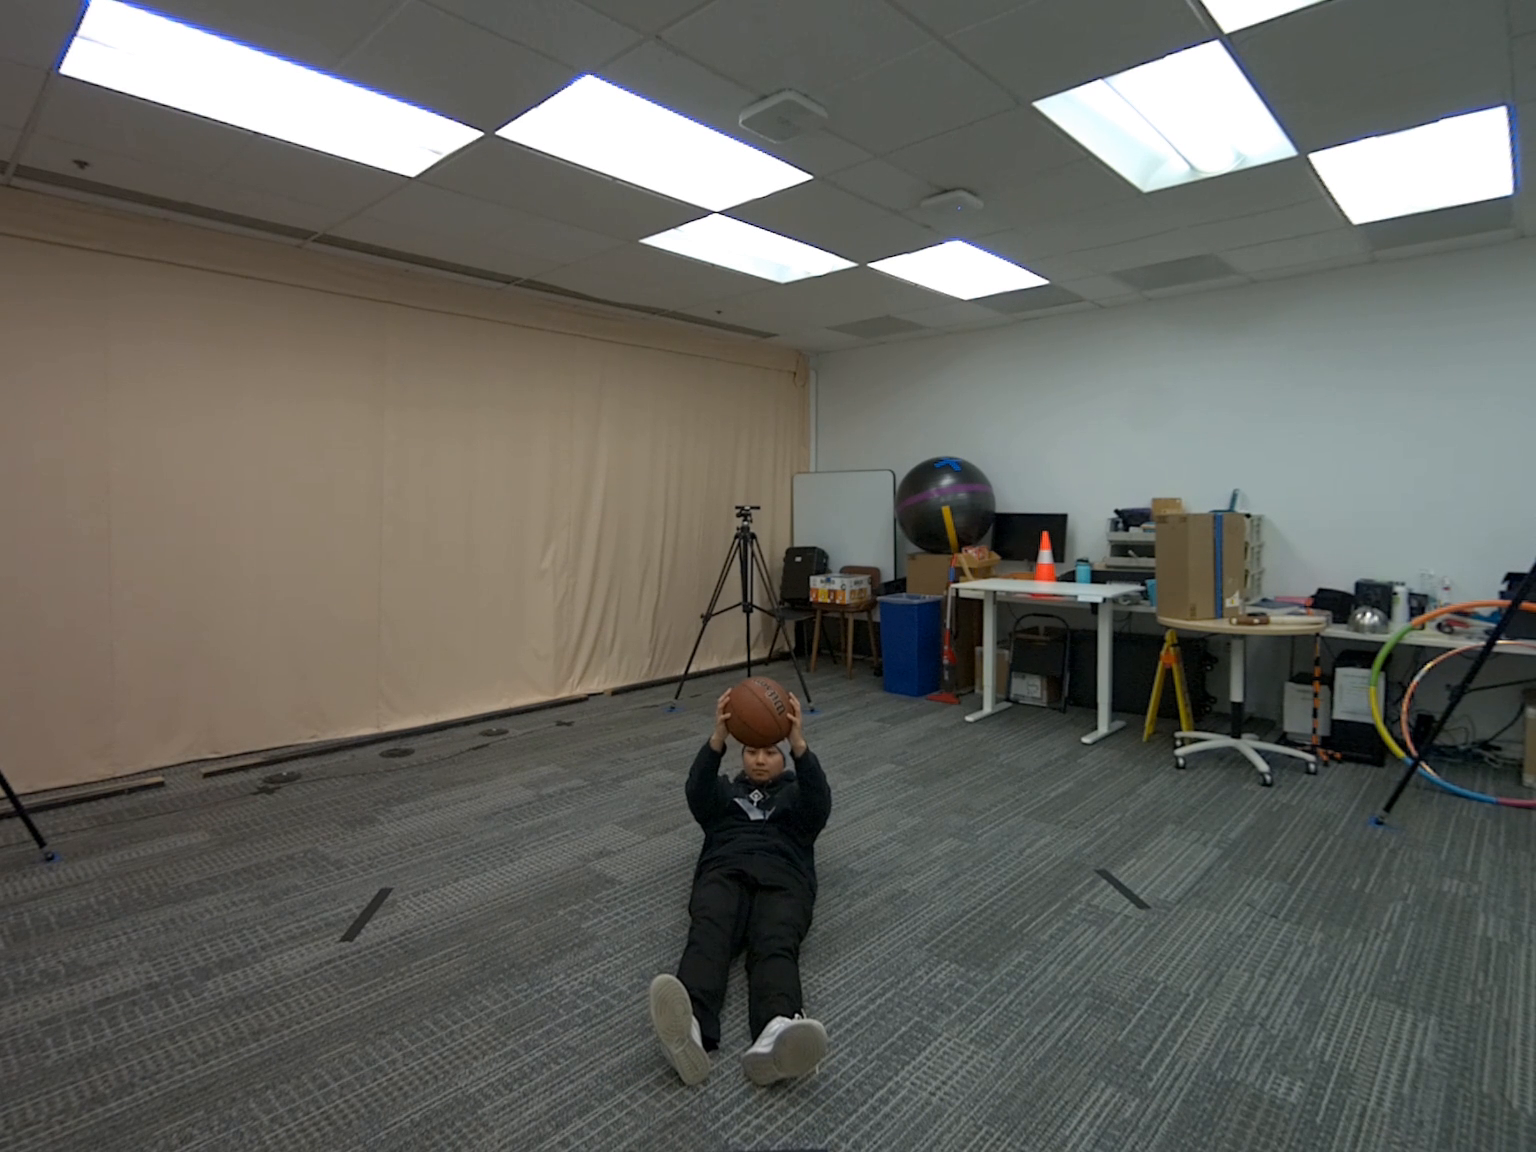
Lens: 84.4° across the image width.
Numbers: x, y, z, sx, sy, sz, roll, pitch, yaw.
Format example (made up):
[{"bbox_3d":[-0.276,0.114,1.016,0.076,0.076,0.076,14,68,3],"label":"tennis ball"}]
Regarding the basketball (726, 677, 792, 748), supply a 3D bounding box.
[{"bbox_3d":[-0.032,0.460,2.840,0.236,0.235,0.237,0,4,-2],"label":"basketball"}]
